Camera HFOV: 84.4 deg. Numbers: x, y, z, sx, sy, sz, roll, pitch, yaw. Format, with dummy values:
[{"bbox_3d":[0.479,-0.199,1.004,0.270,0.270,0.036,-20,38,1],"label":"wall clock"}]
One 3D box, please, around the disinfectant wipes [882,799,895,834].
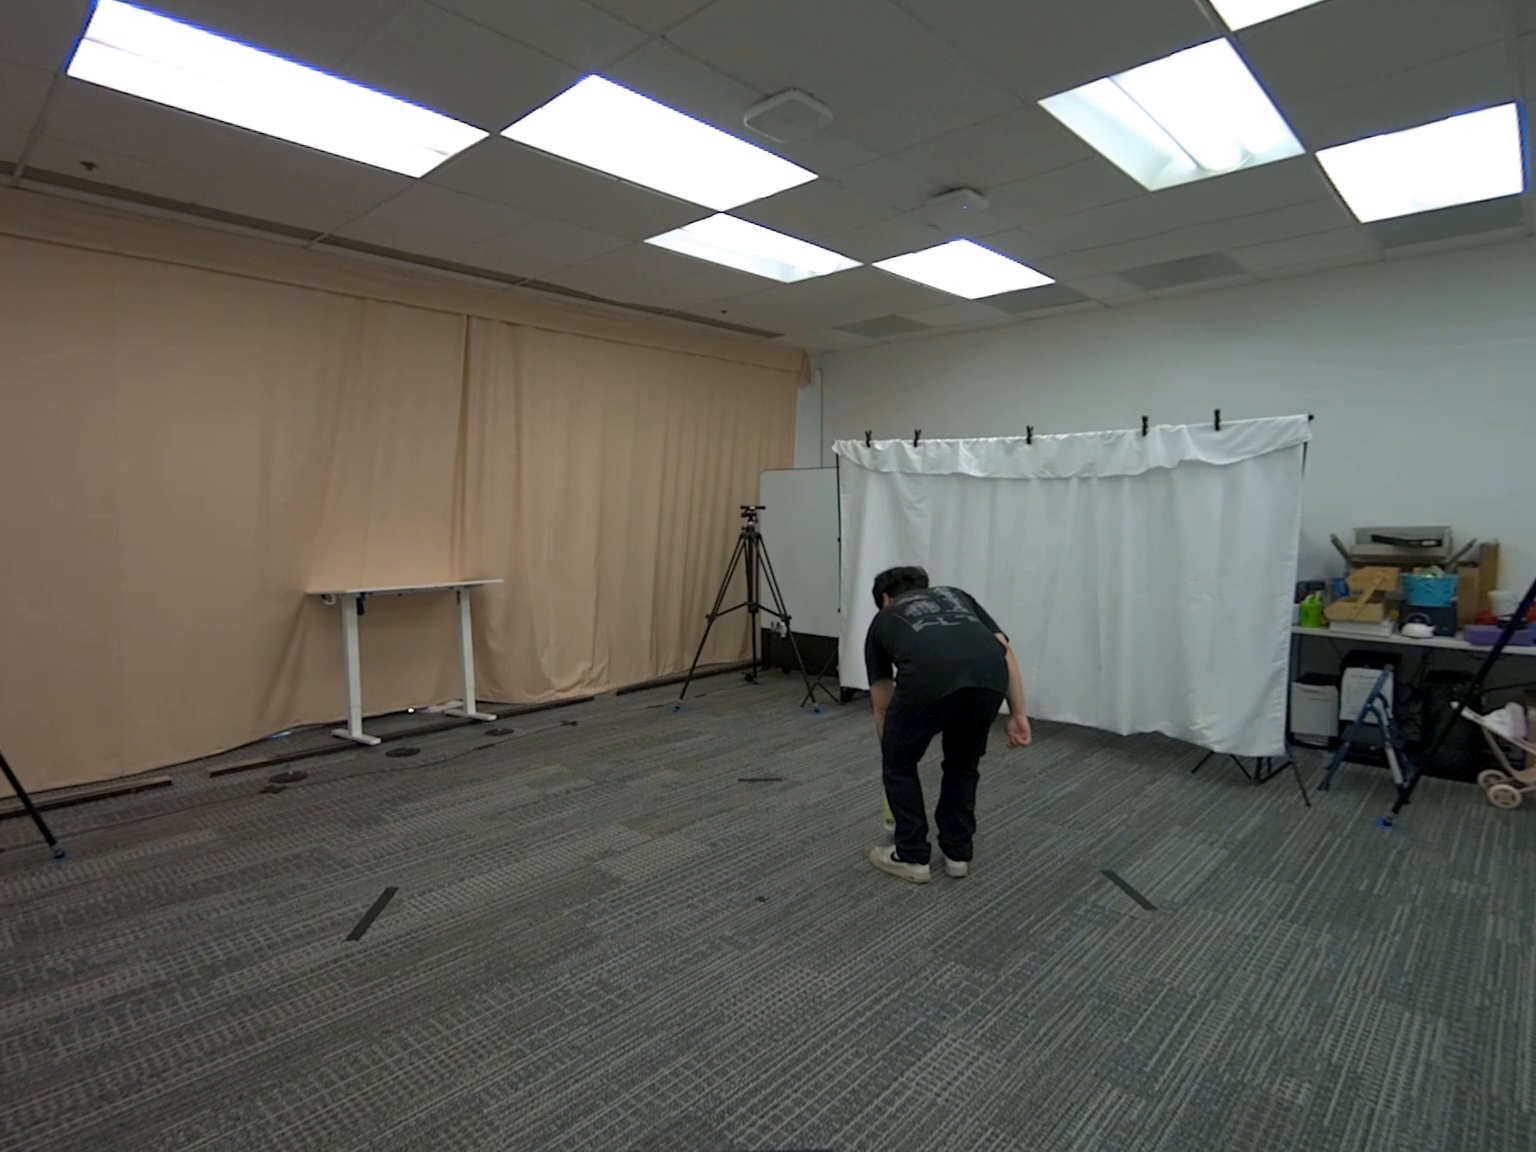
[{"bbox_3d":[0.547,0.963,3.523,0.118,0.218,0.117,2,-4,-2],"label":"disinfectant wipes"}]
